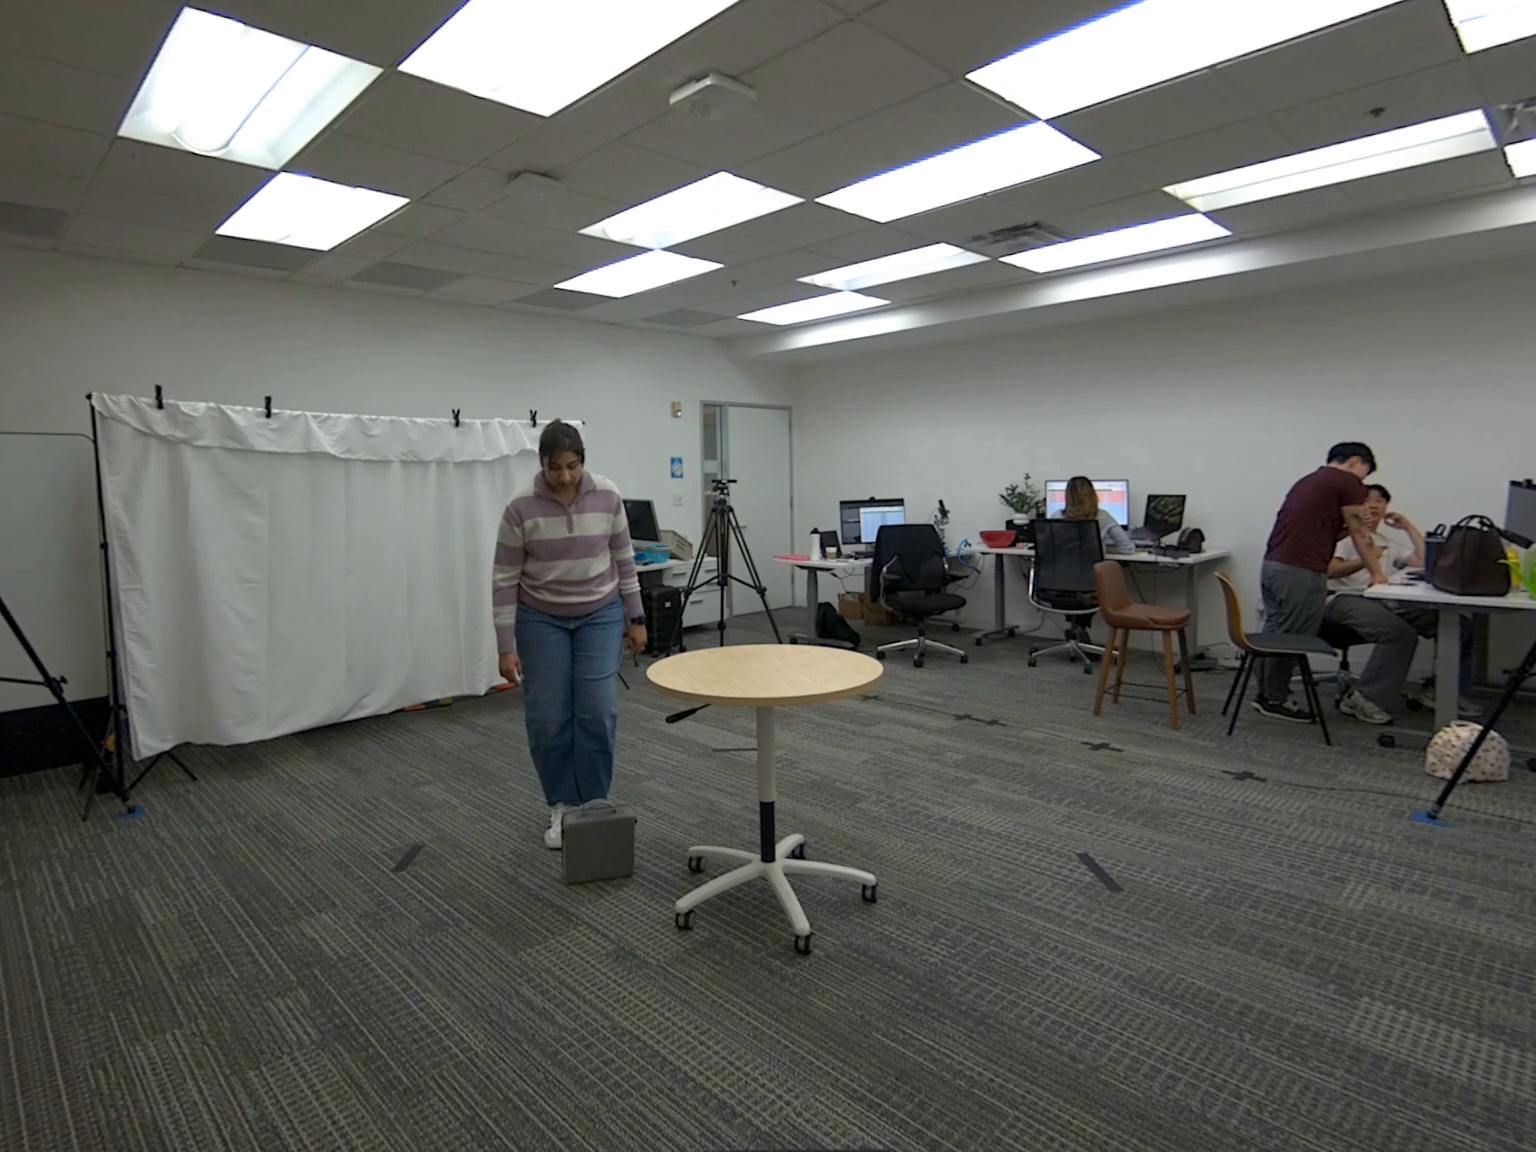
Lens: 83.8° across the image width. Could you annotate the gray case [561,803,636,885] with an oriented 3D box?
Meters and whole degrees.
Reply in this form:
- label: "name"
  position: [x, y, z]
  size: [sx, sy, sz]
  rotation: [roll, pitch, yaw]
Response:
- label: "gray case"
  position: [-0.593, 0.931, 3.016]
  size: [0.253, 0.258, 0.107]
  rotation: [-1, 13, -14]
